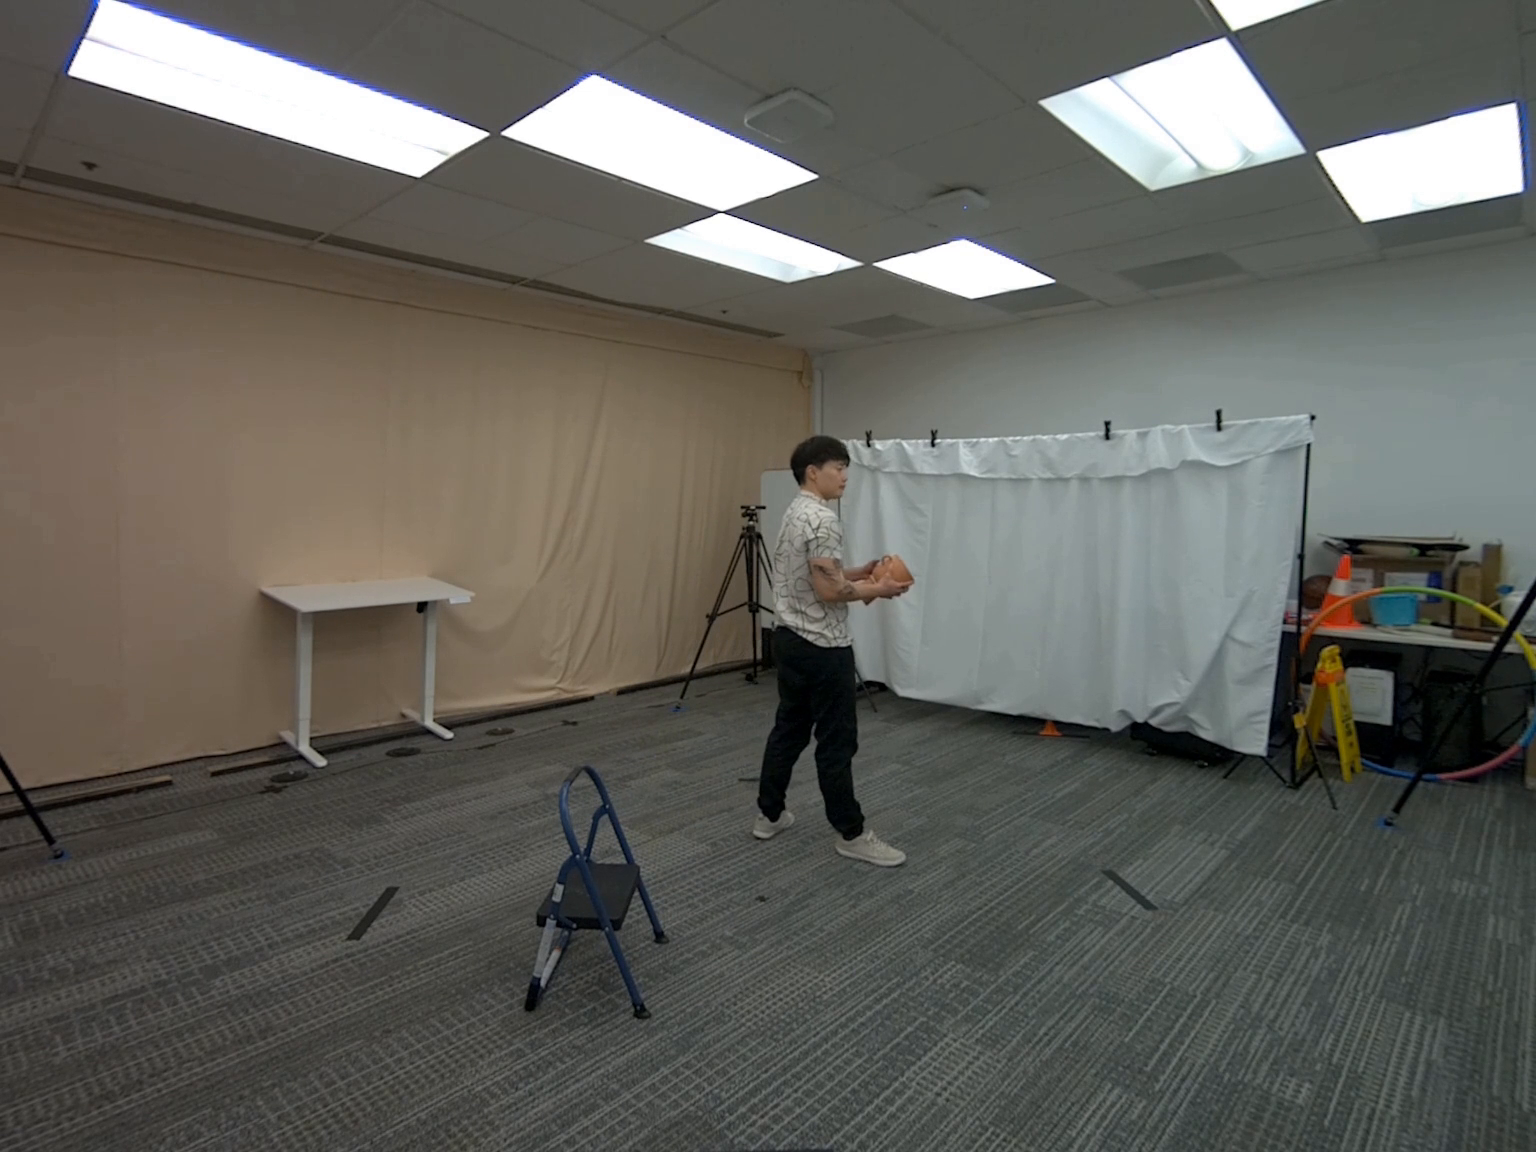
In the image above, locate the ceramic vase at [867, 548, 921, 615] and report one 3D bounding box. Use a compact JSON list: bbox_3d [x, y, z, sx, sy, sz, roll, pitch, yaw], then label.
[{"bbox_3d":[0.475,0.021,3.422,0.220,0.161,0.132,-32,-14,6],"label":"ceramic vase"}]
